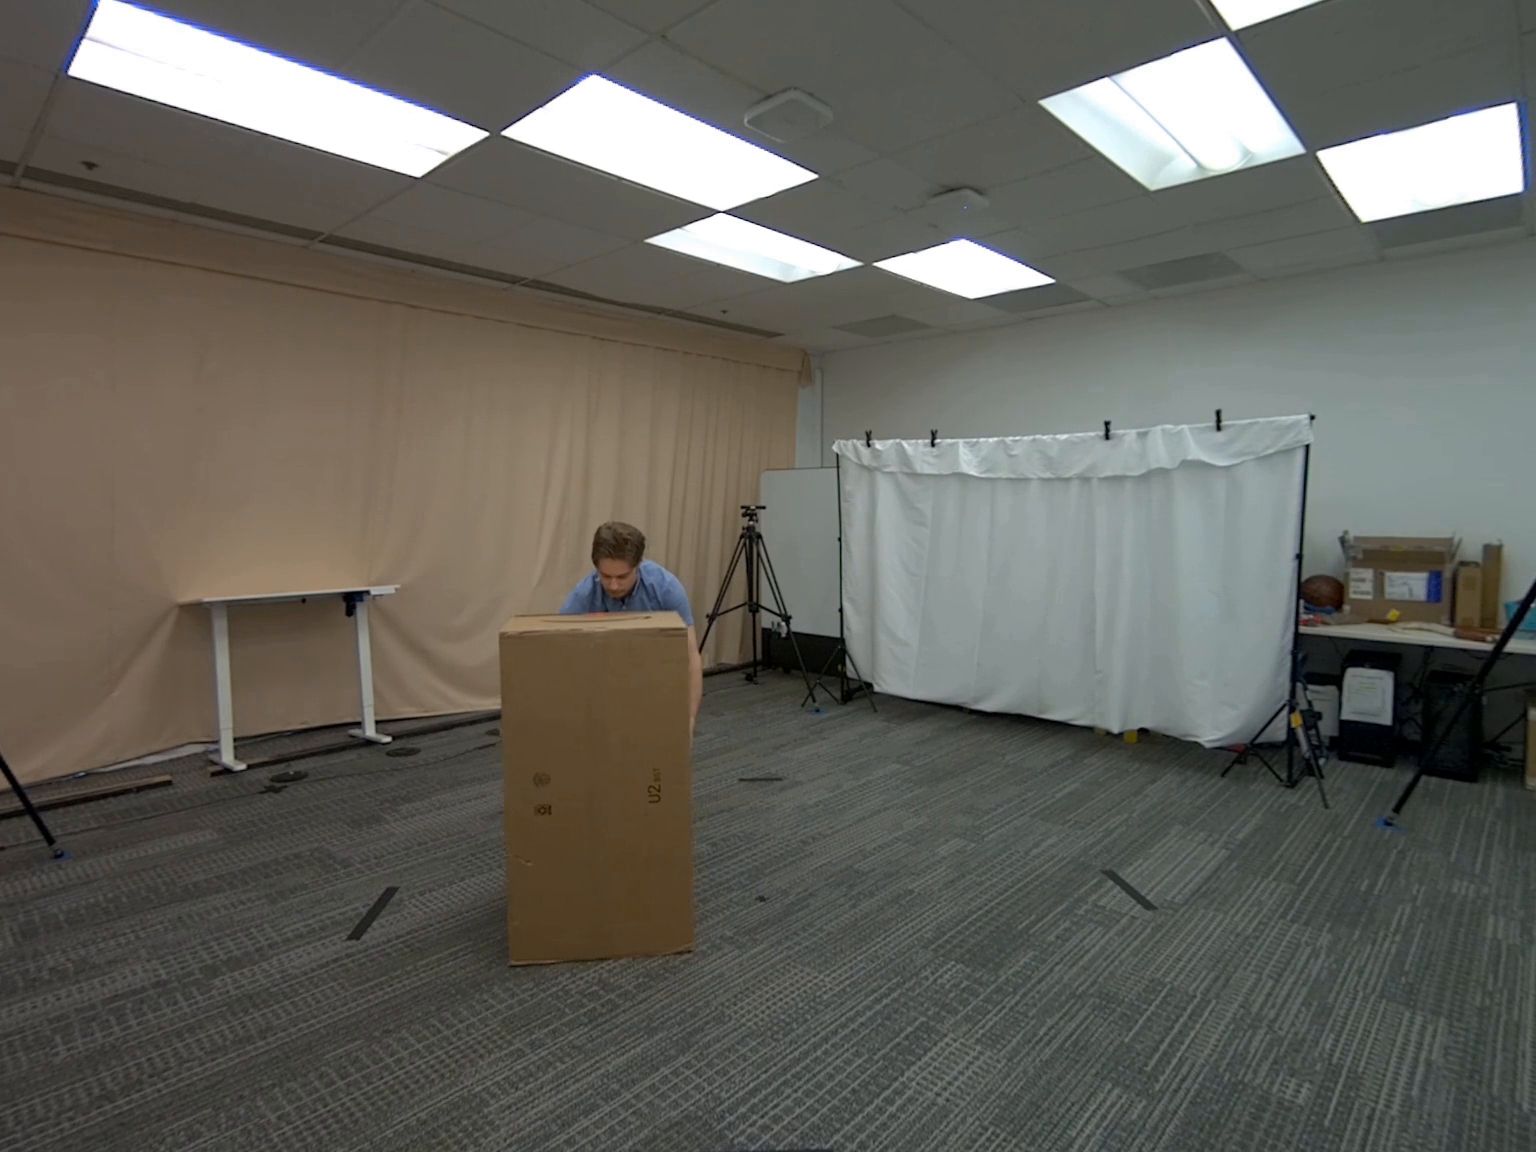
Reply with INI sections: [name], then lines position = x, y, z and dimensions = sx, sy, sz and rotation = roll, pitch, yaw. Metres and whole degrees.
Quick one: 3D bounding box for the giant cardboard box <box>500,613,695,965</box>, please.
[giant cardboard box]
position = -0.557, 0.657, 2.774
dimensions = 0.573, 1.024, 0.430
rotation = -1, 2, -8
